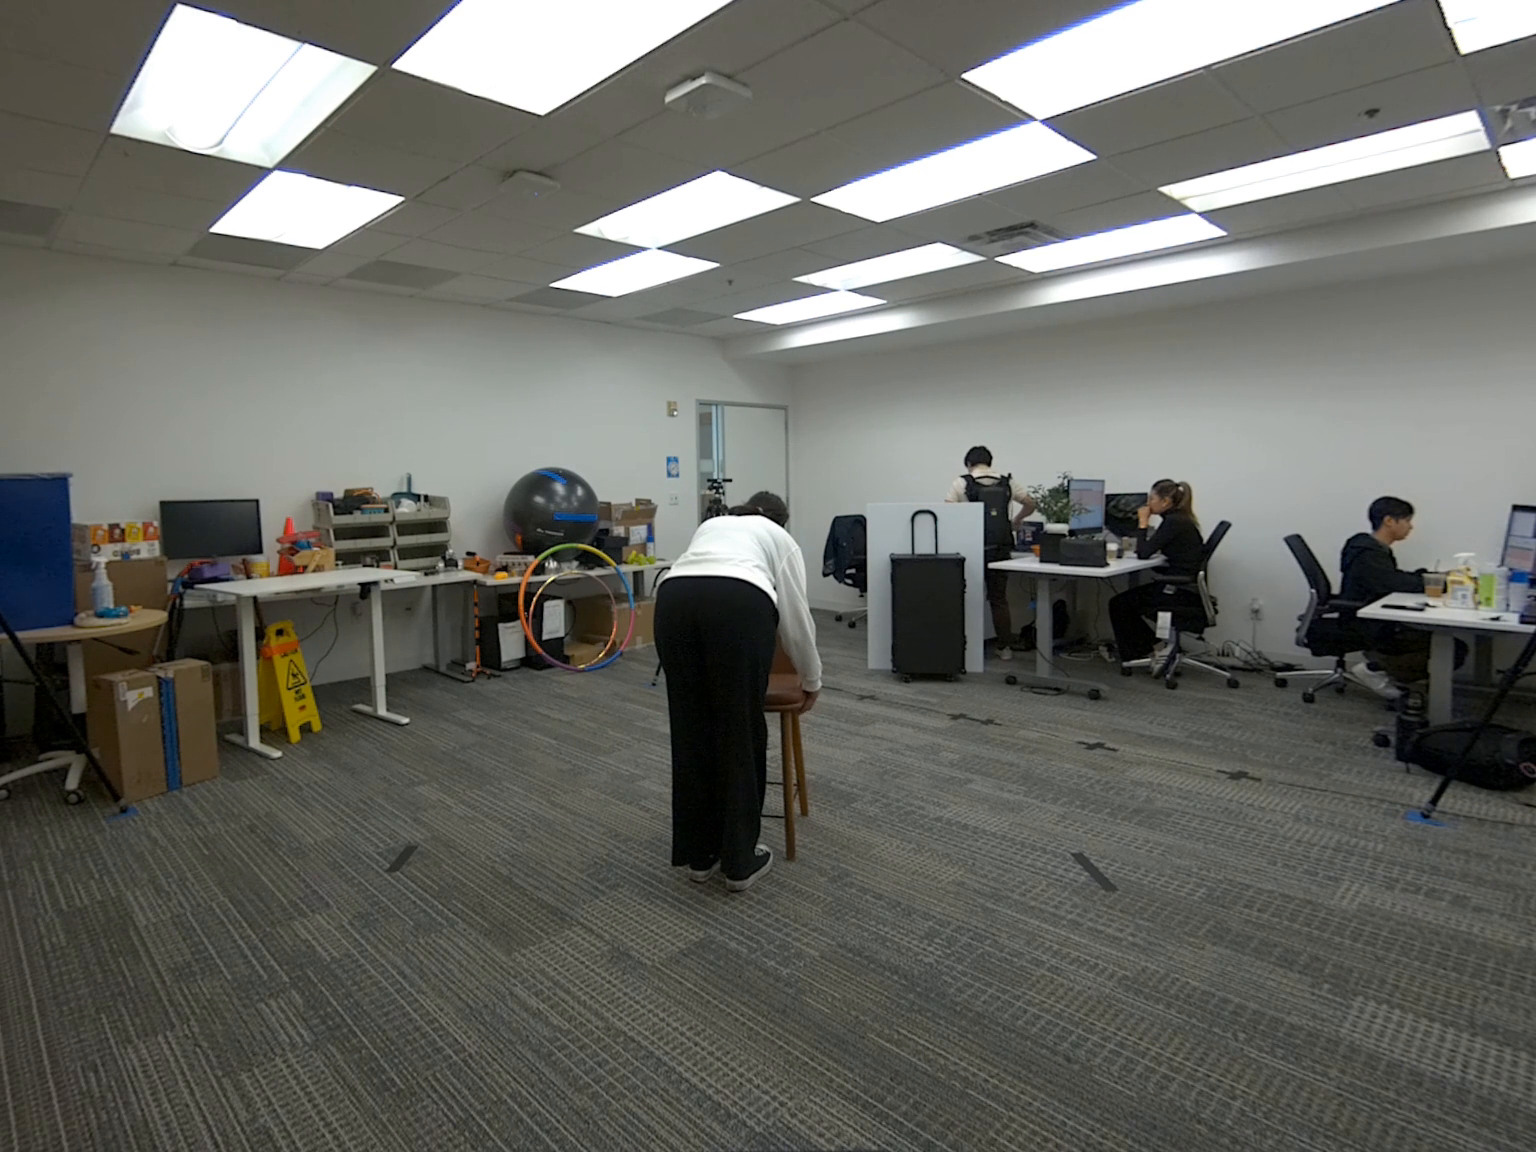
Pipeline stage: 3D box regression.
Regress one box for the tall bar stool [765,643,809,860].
[{"bbox_3d":[-0.061,0.581,3.371,0.463,0.888,0.462,0,2,13],"label":"tall bar stool"}]
